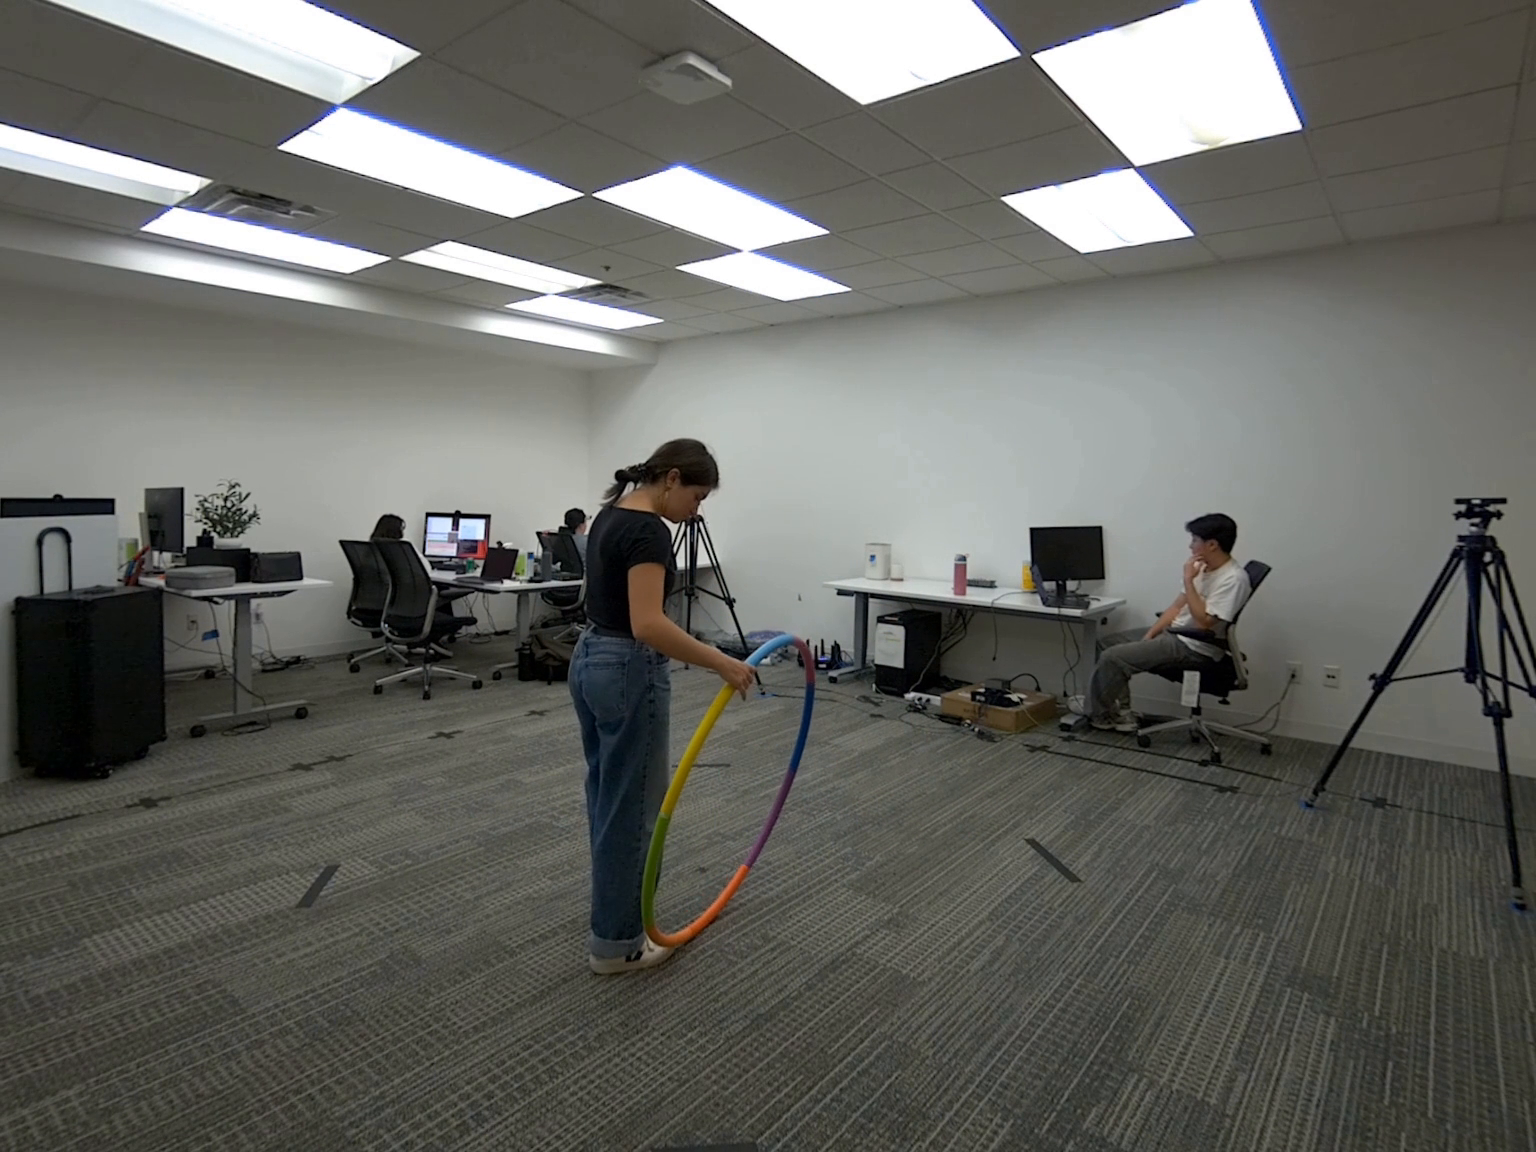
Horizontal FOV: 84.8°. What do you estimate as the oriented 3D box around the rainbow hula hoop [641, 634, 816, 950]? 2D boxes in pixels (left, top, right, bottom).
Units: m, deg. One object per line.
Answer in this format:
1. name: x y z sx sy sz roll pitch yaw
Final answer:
1. rainbow hula hoop: -0.082 0.643 2.607 0.036 0.972 0.956 19 12 23
